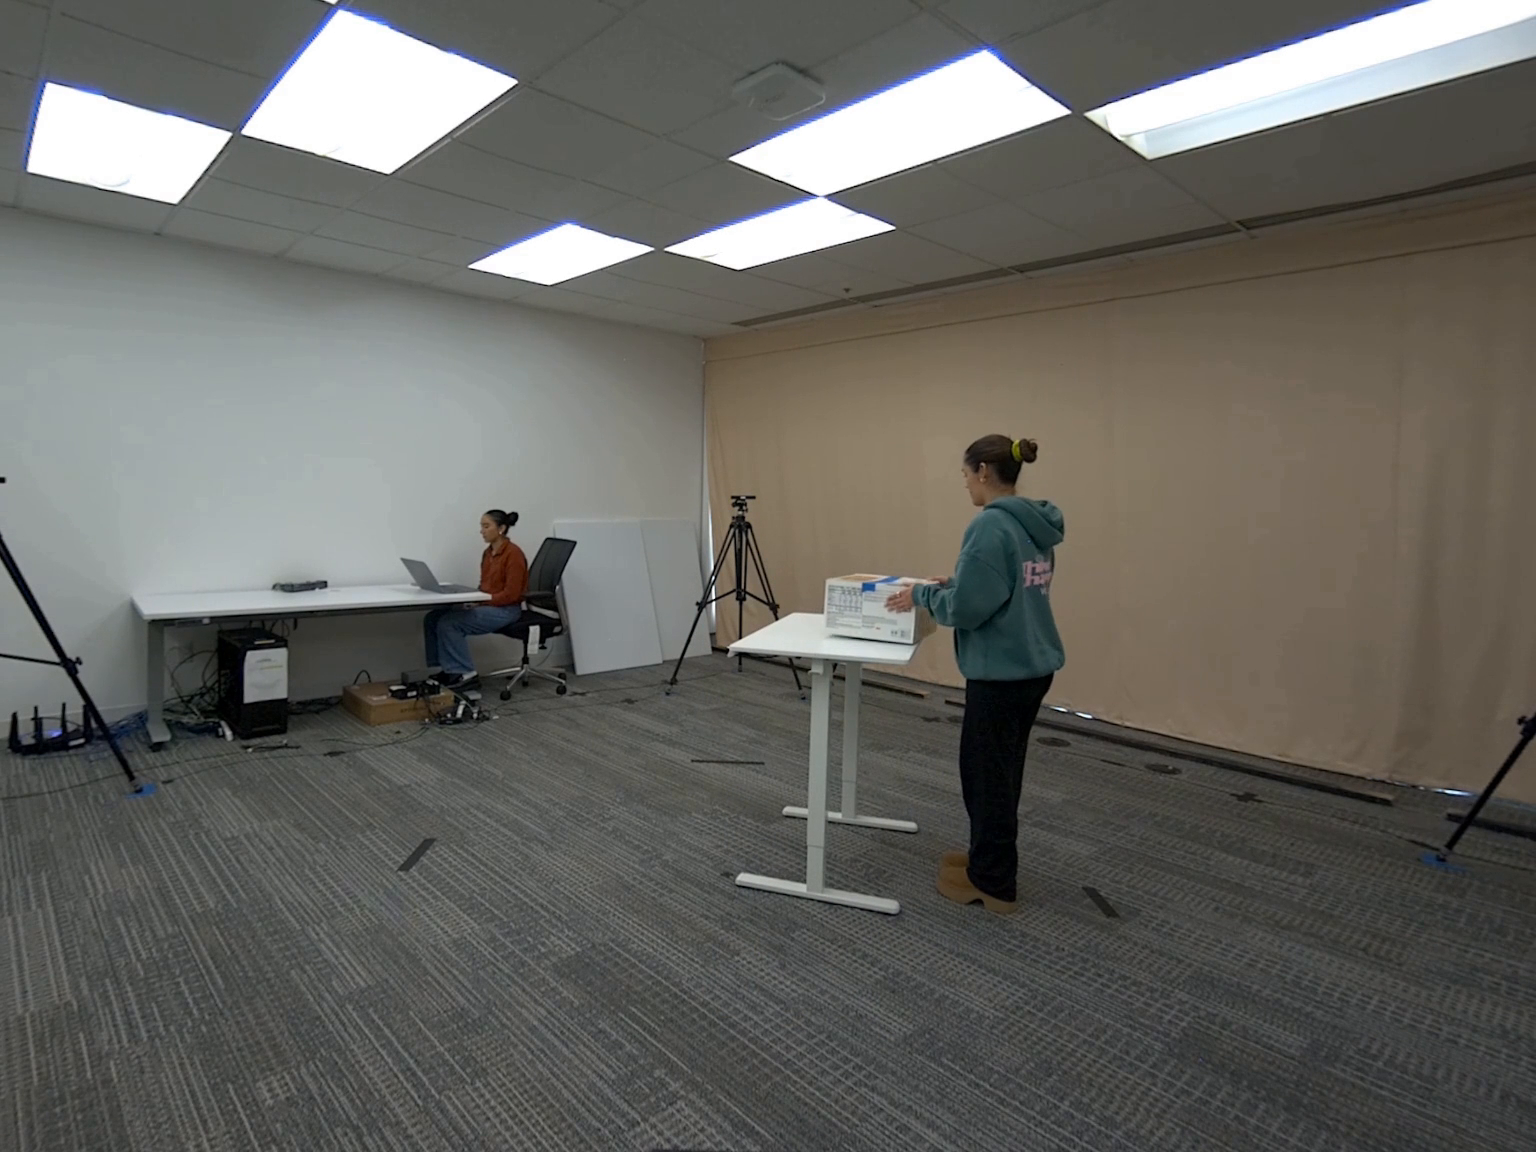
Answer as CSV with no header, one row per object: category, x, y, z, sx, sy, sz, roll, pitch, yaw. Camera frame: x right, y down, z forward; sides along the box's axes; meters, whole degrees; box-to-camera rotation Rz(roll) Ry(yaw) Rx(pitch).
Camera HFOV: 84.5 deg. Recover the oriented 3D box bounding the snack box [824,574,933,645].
snack box,0.440,0.114,3.217,0.347,0.205,0.398,5,5,24
